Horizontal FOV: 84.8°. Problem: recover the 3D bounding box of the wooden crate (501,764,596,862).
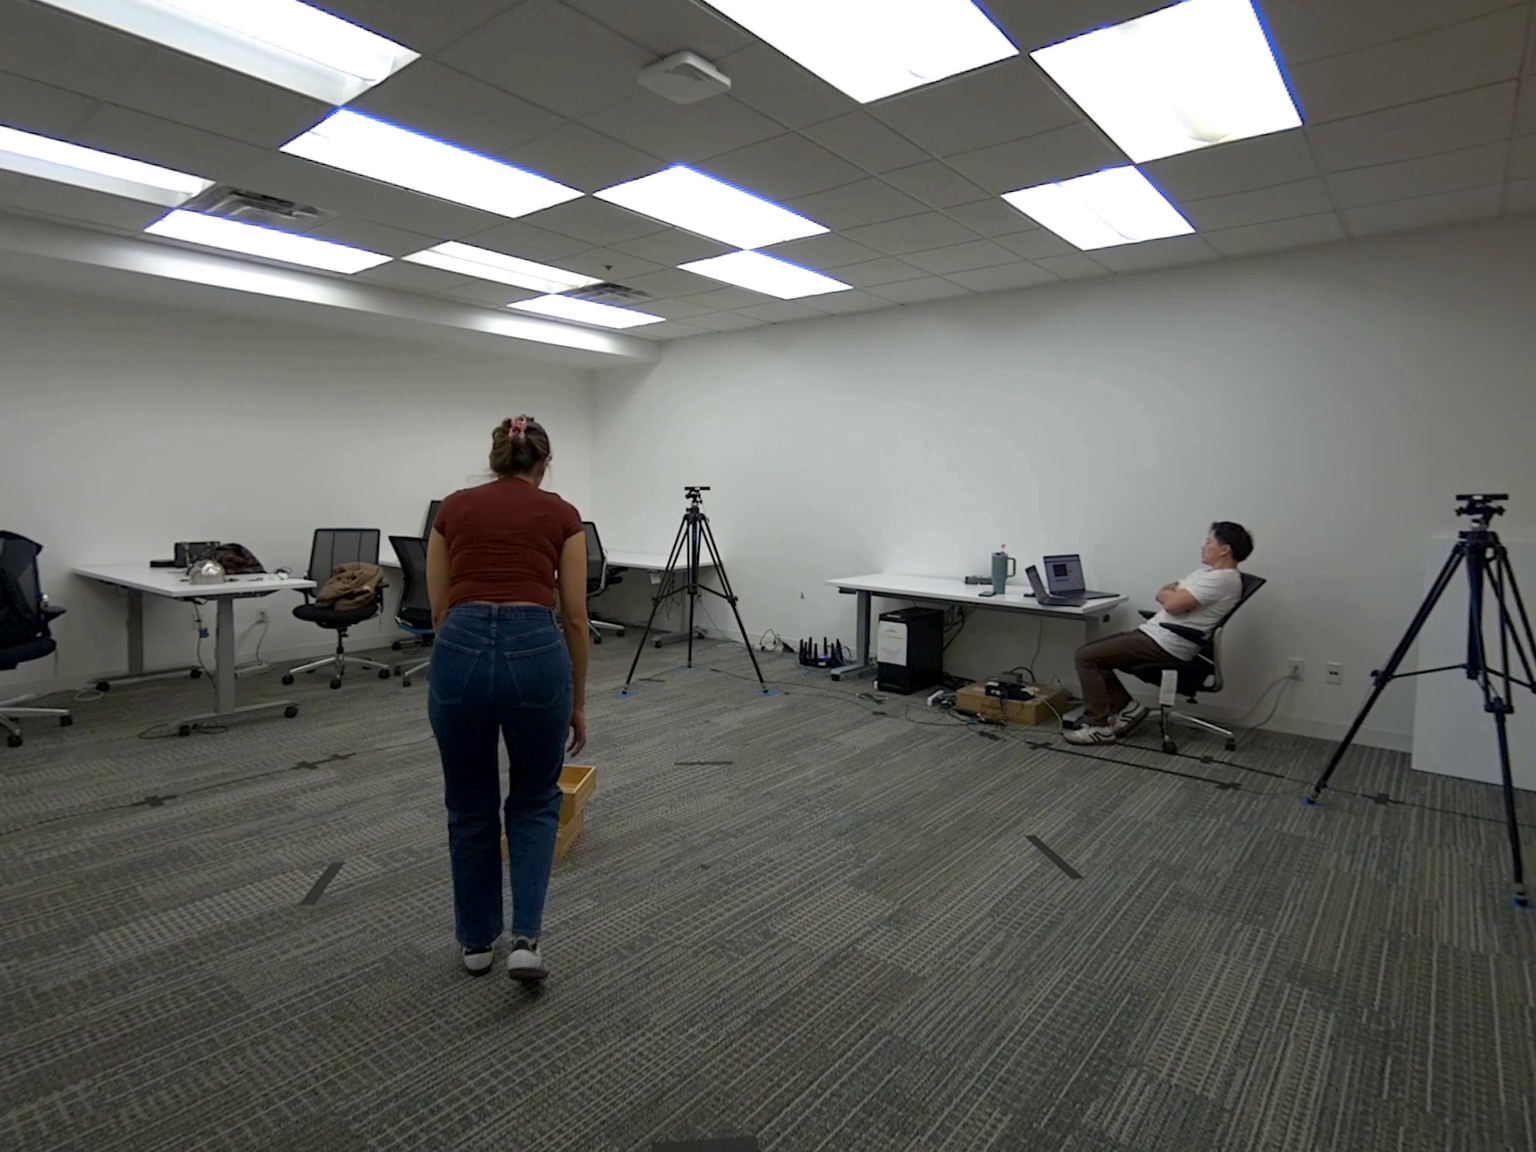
[{"bbox_3d":[-0.873,0.904,3.302,0.304,0.272,0.323,1,4,6],"label":"wooden crate"}]
